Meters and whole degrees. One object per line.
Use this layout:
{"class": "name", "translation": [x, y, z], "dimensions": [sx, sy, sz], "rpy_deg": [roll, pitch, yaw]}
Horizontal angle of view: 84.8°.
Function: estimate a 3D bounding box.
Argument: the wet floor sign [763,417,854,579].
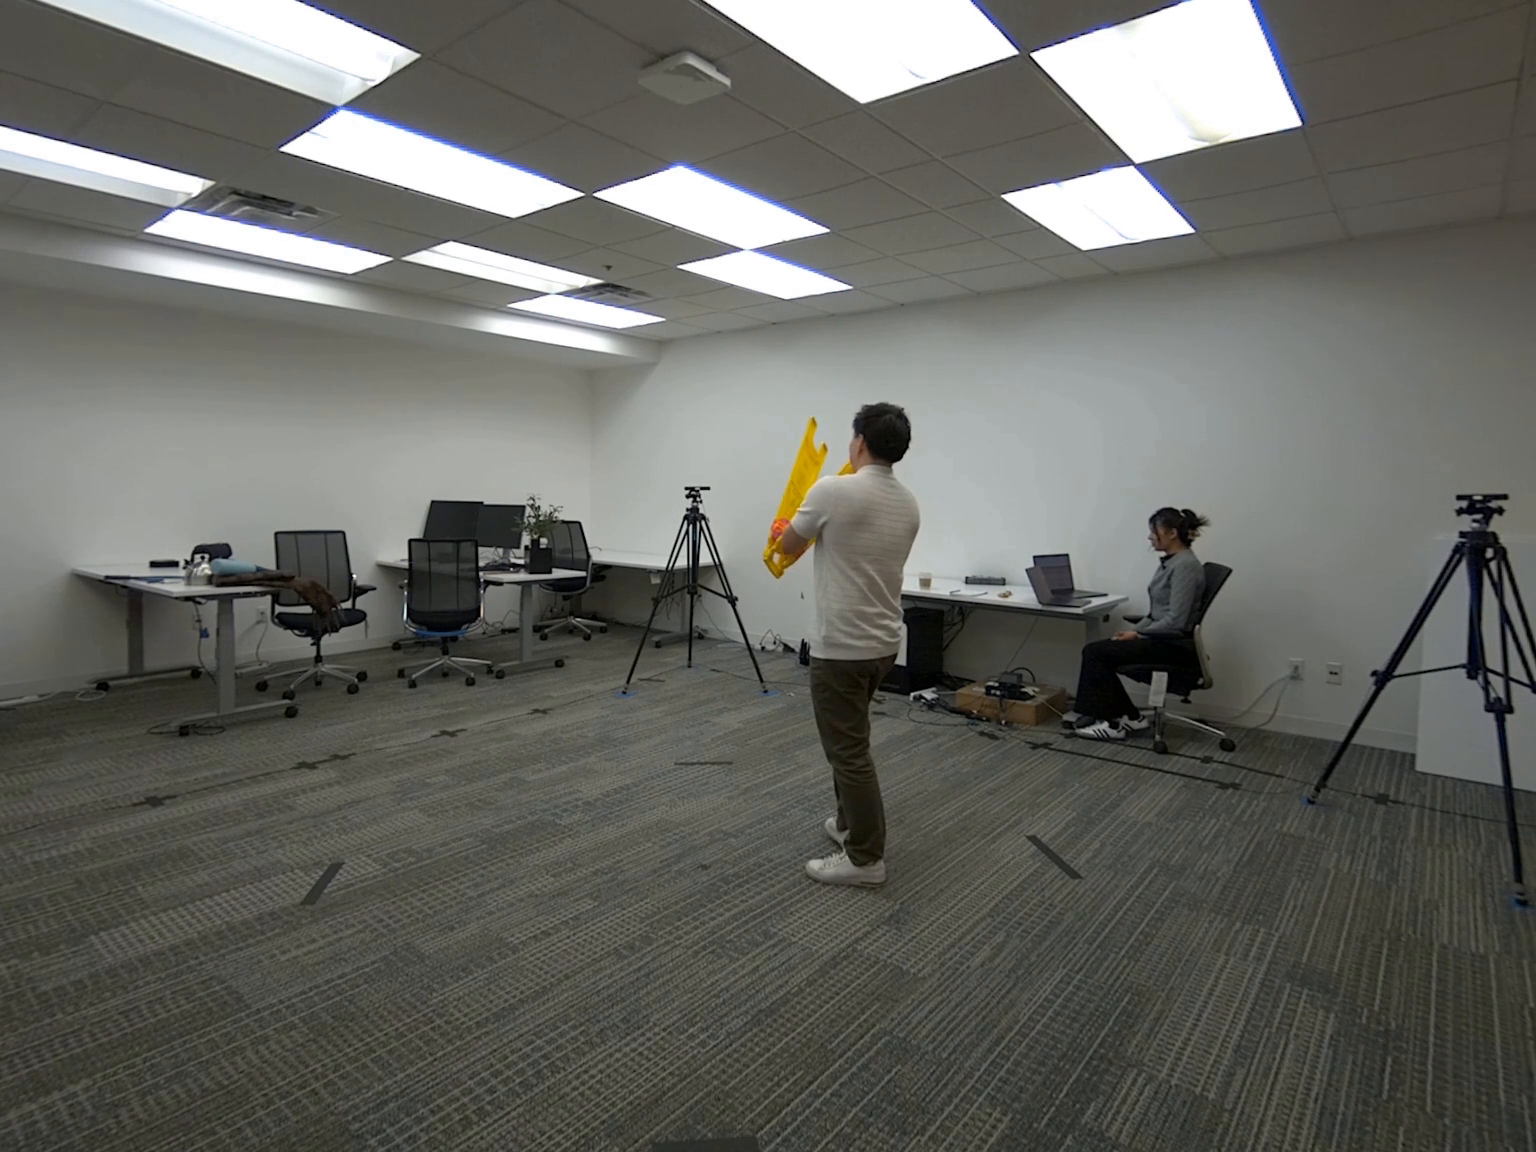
{"class": "wet floor sign", "translation": [0.163, -0.294, 3.522], "dimensions": [0.300, 0.648, 0.271], "rpy_deg": [24, -14, 29]}
